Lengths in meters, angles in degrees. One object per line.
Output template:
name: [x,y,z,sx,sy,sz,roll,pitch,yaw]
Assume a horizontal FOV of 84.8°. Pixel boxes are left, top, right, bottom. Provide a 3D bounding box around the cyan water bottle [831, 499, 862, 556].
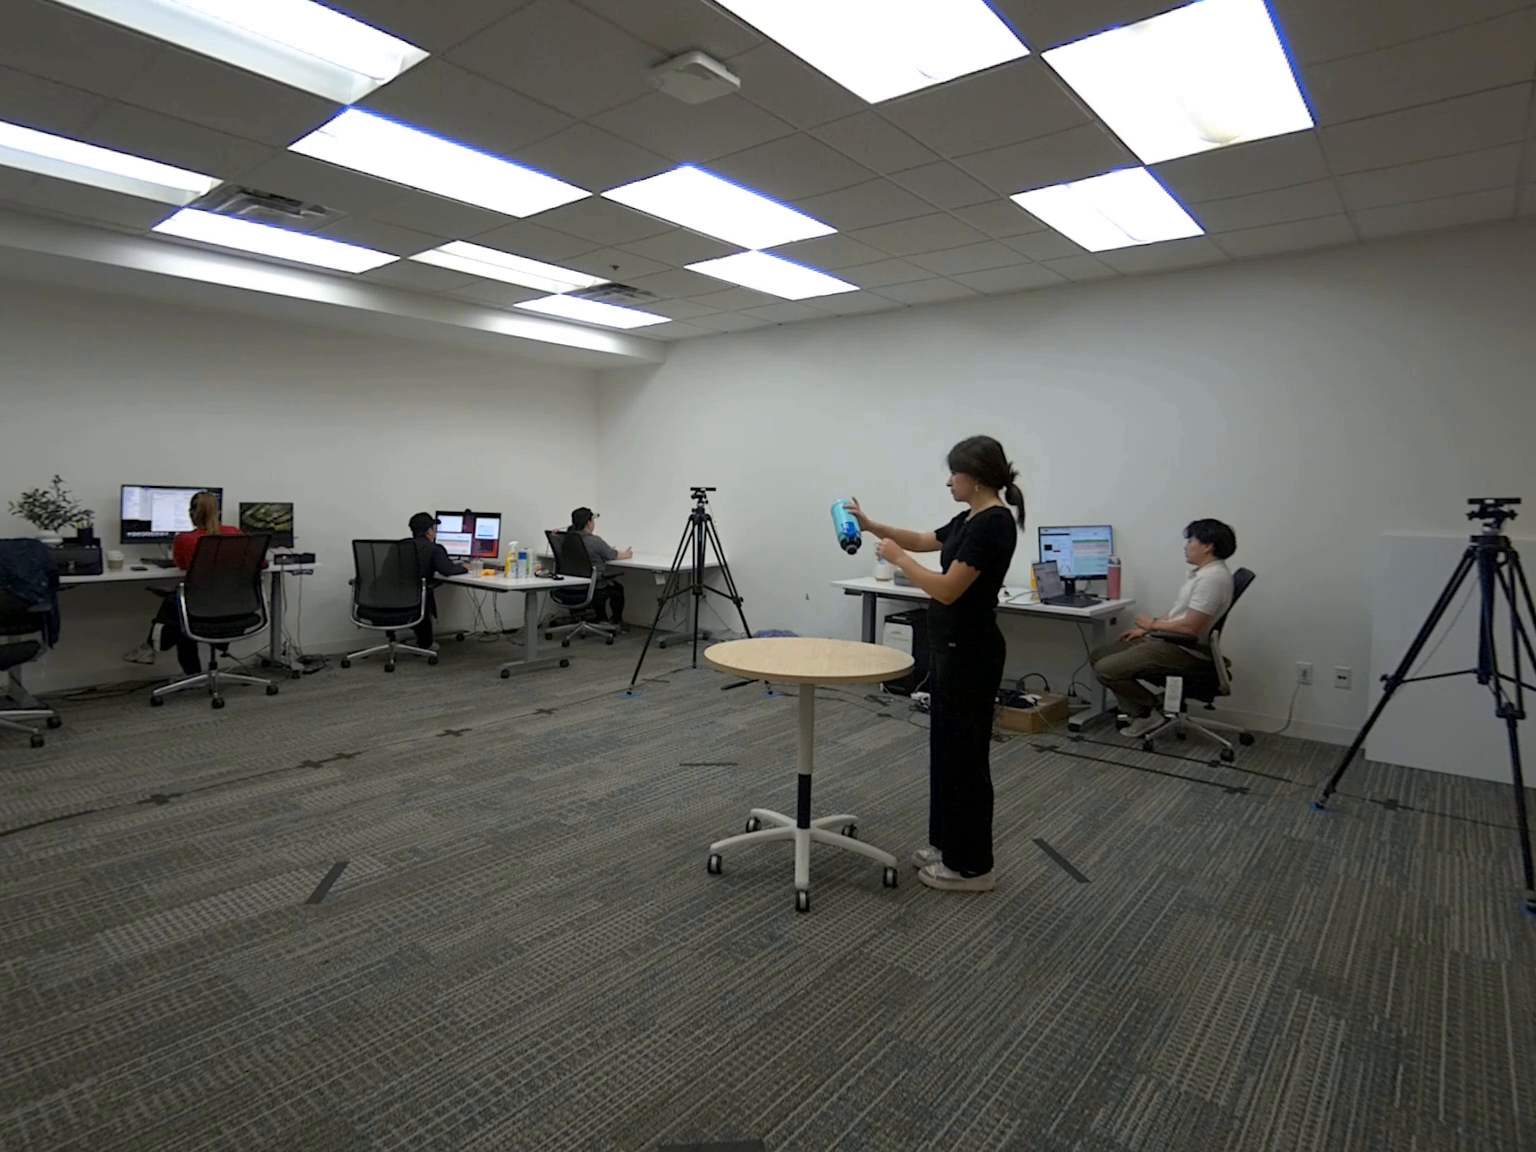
cyan water bottle: [0.291,-0.186,3.215,0.092,0.090,0.292,0,34,-6]
